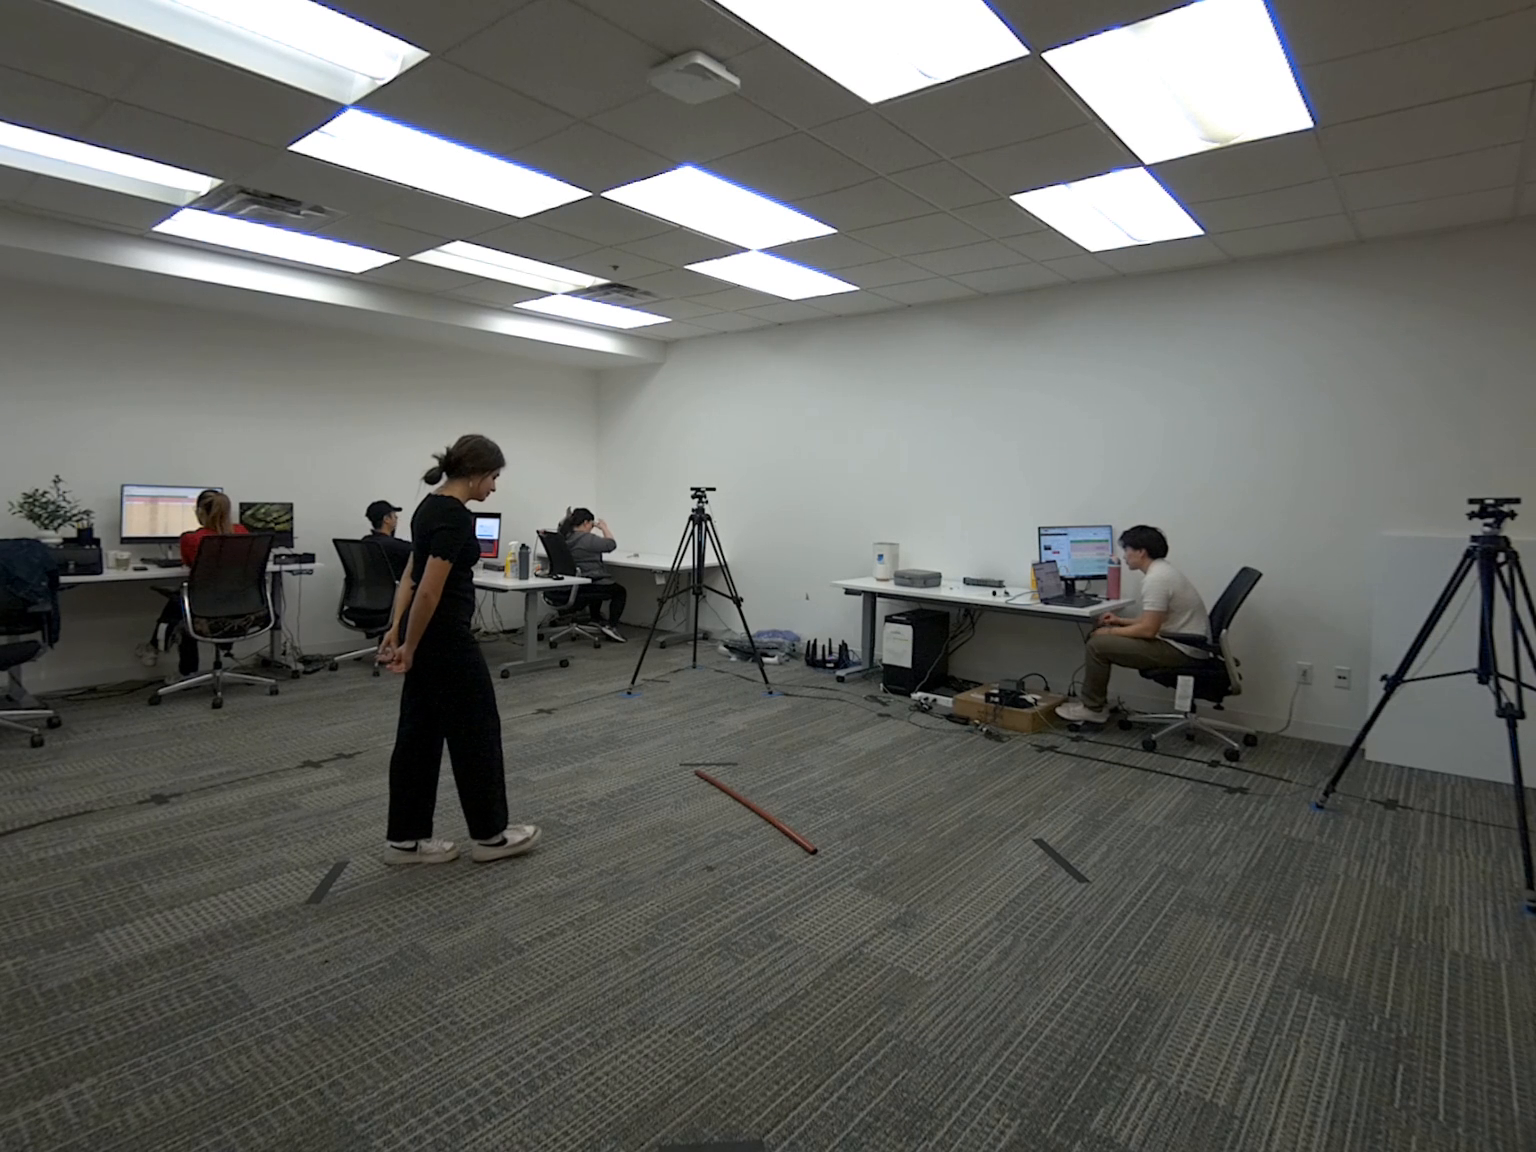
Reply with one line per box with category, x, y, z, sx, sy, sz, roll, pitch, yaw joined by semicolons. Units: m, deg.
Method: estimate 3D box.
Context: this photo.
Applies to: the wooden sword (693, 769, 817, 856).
wooden sword;-0.094;0.986;3.685;0.050;0.024;1.055;10;0;-30
